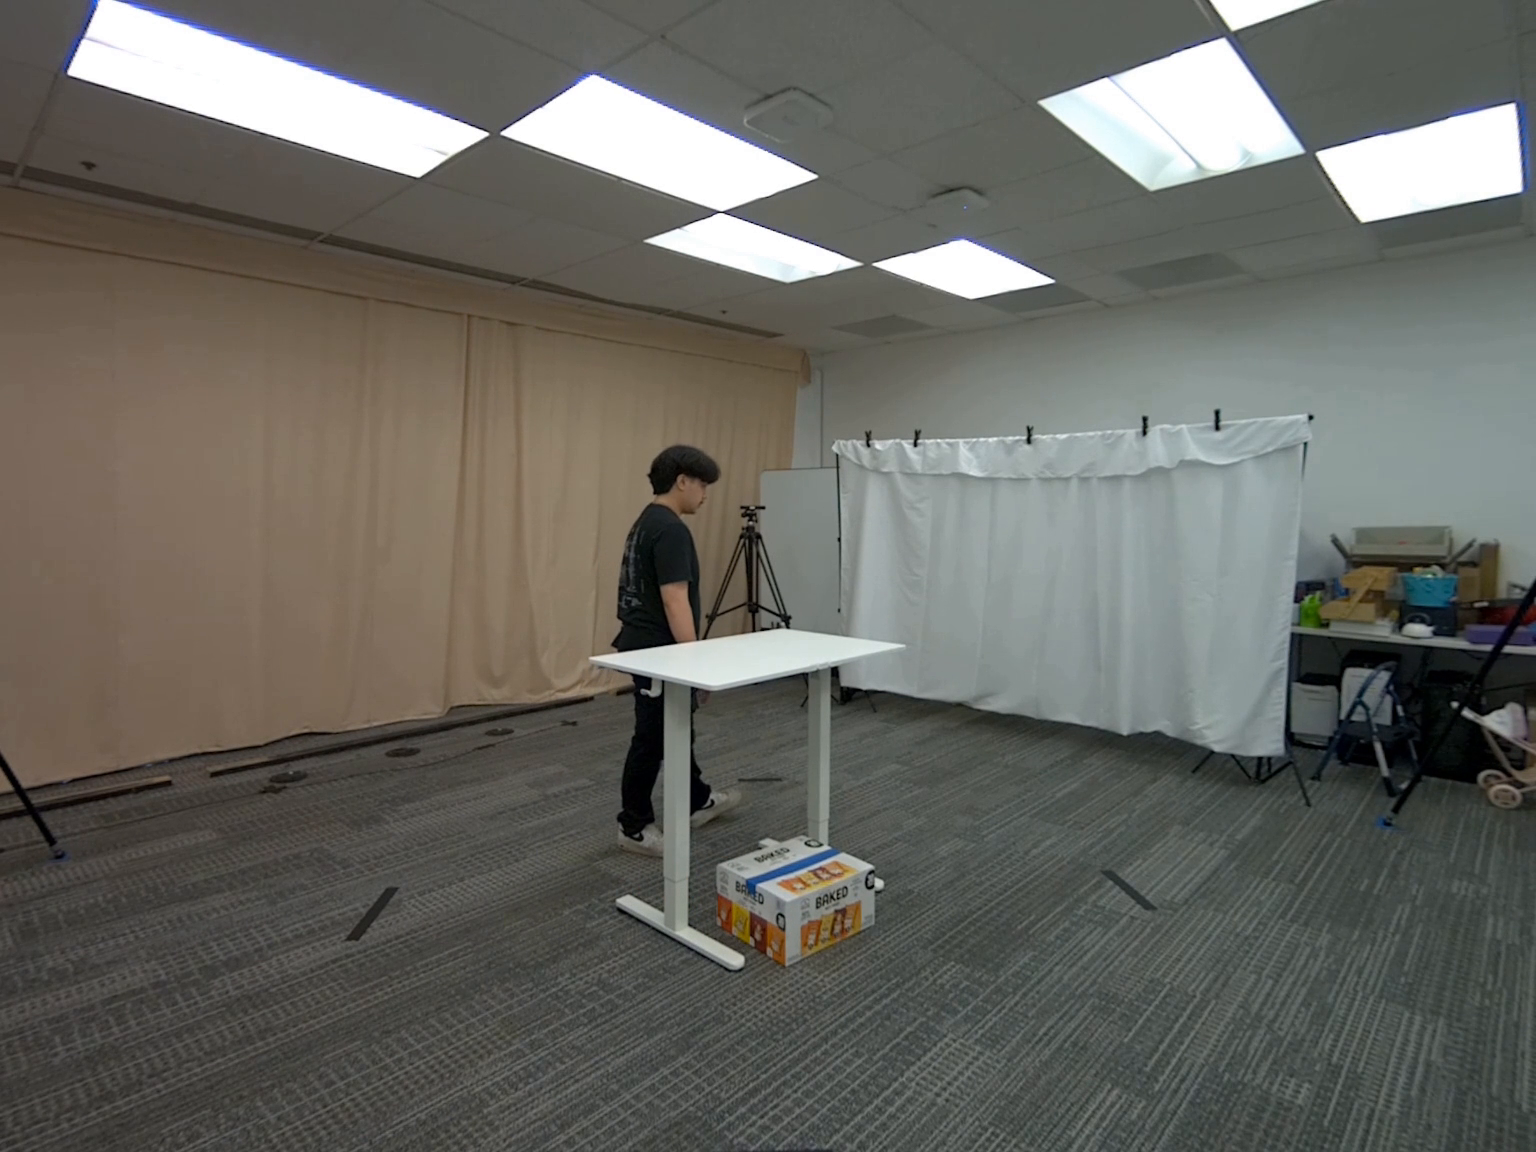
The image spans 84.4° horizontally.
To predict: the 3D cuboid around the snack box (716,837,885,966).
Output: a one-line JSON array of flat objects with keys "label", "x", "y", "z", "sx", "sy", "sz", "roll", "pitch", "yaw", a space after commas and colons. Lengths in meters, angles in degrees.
[{"label": "snack box", "x": 0.094, "y": 1.062, "z": 2.786, "sx": 0.393, "sy": 0.205, "sz": 0.351, "roll": -4, "pitch": 6, "yaw": -41}]
